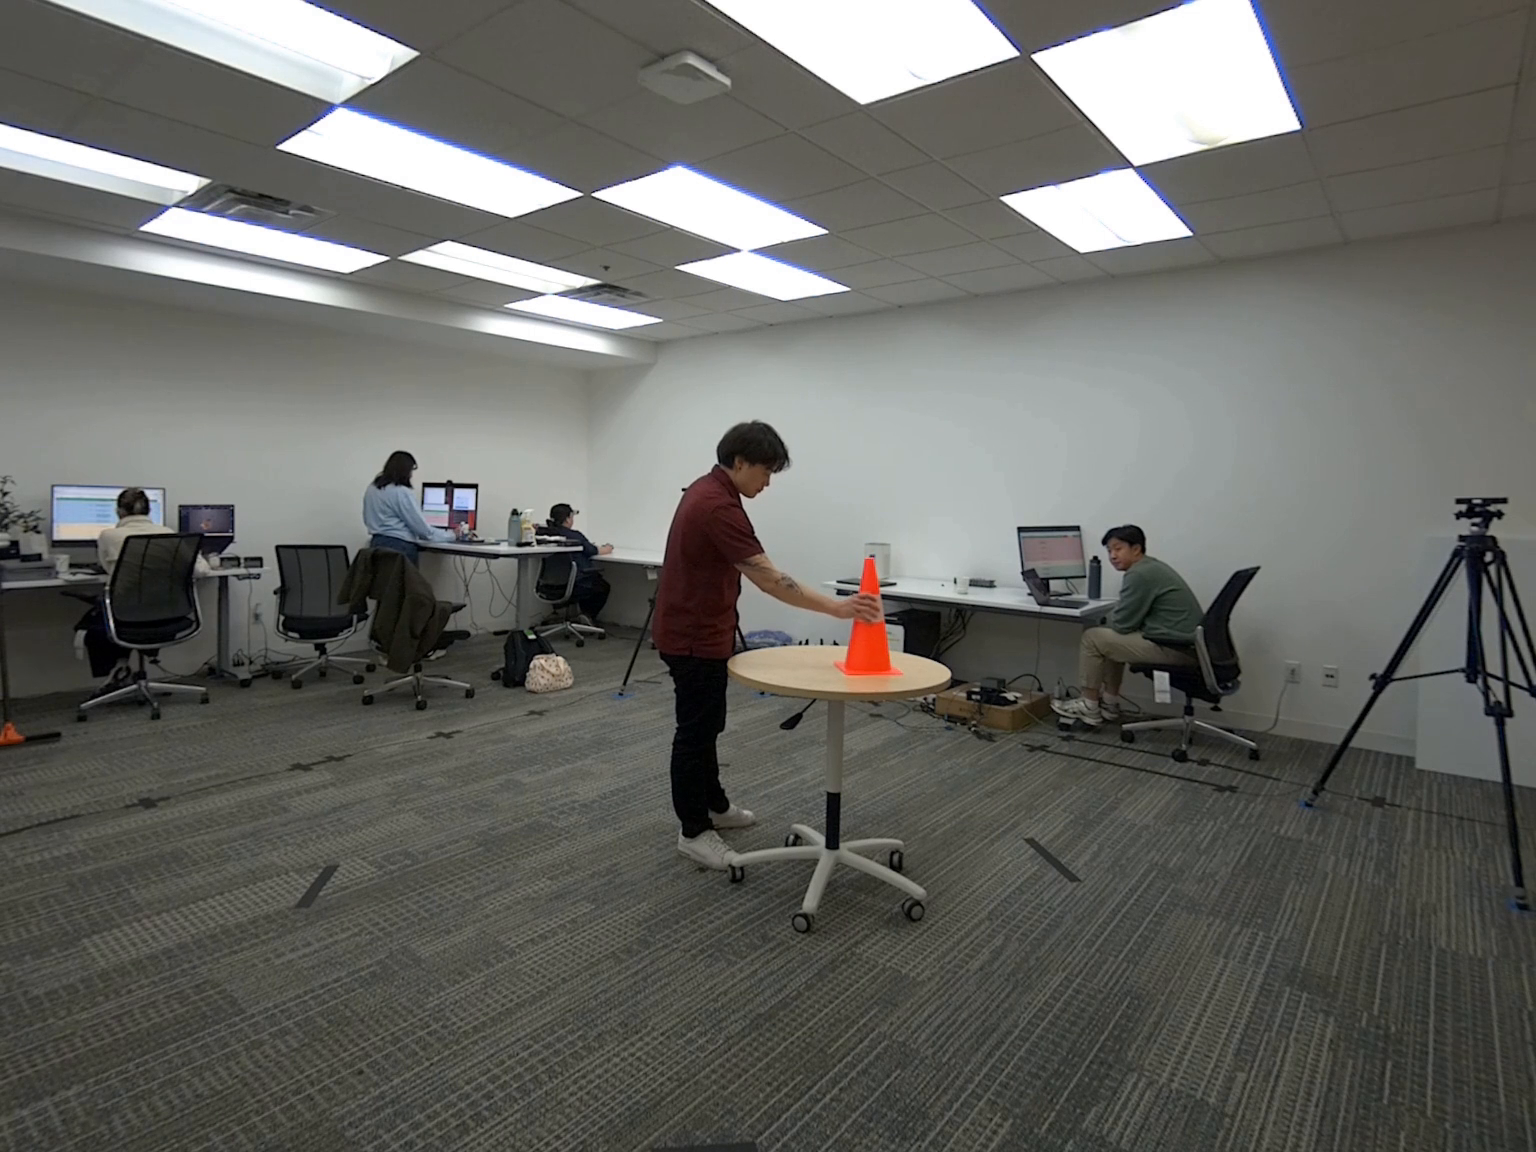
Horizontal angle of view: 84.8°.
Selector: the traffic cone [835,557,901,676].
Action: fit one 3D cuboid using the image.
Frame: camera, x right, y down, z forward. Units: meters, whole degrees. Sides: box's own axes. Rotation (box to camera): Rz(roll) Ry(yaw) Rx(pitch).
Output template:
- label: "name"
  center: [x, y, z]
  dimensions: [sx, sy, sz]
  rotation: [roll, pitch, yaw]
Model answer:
- label: "traffic cone"
  center: [0.339, 0.123, 2.911]
  dimensions: [0.203, 0.383, 0.206]
  rotation: [-1, 3, -9]
